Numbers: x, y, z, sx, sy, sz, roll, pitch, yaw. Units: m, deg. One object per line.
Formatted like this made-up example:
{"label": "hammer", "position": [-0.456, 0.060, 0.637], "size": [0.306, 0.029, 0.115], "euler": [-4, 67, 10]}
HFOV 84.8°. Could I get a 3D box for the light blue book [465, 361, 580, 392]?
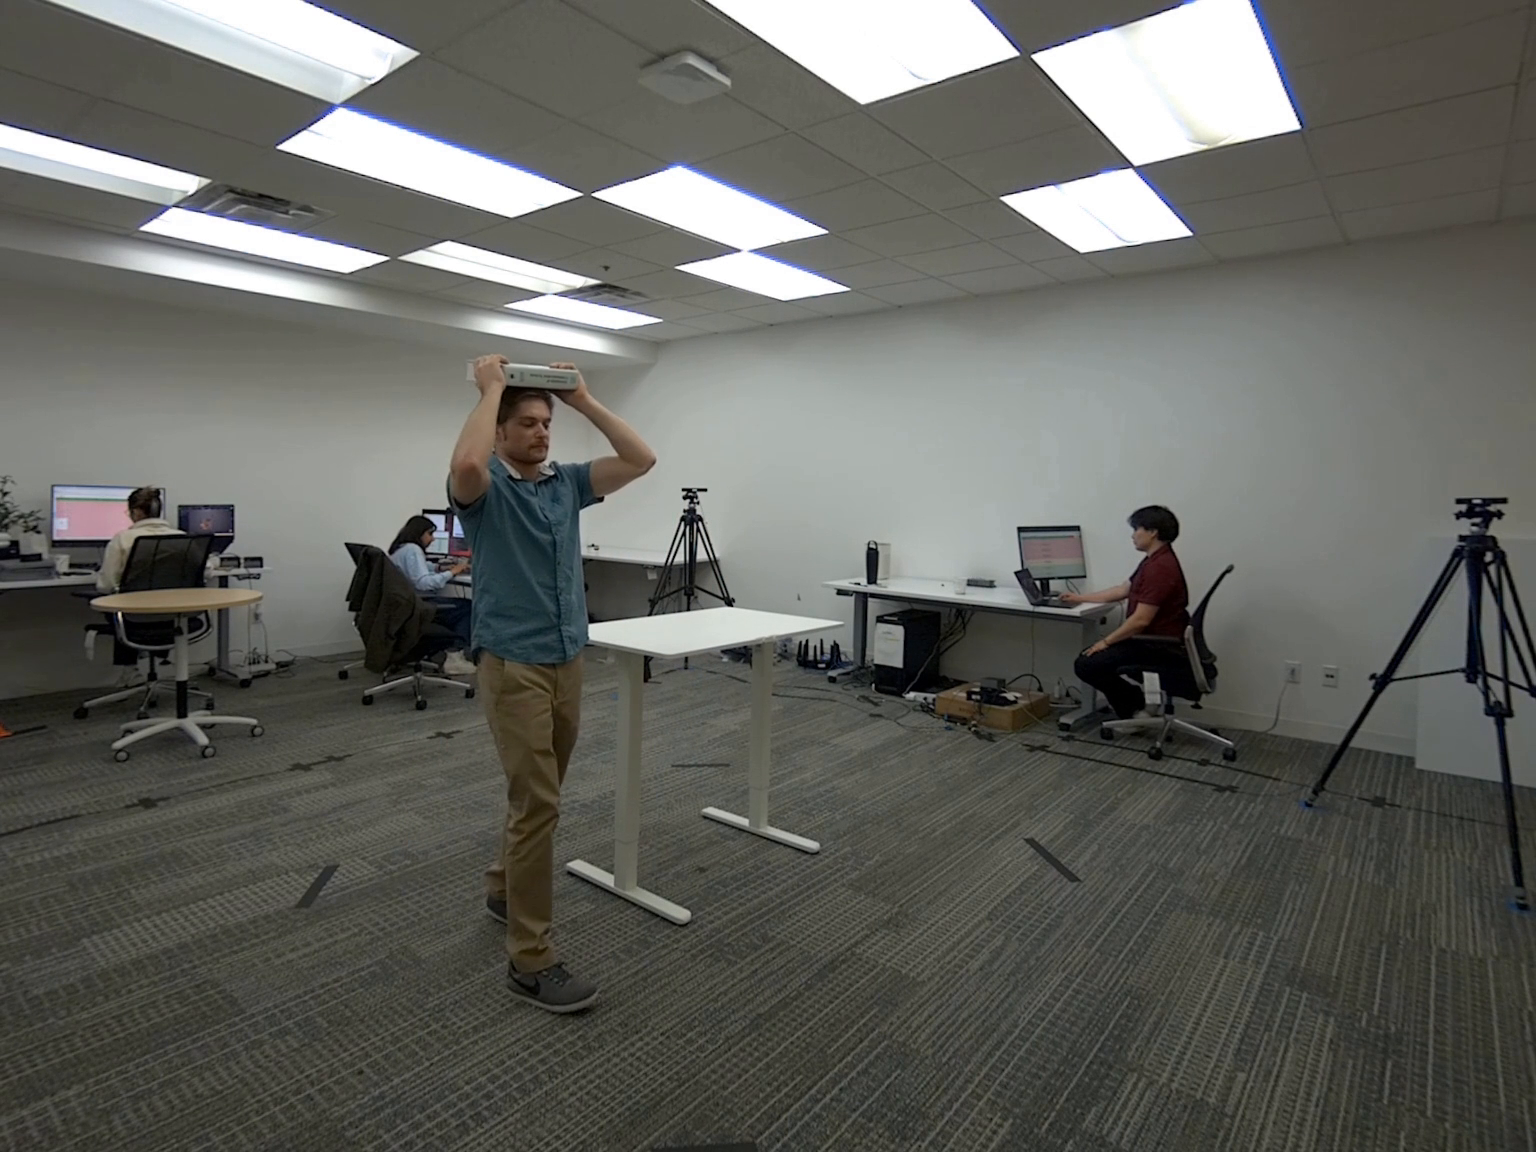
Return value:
{"label": "light blue book", "position": [-0.724, -0.579, 2.450], "size": [0.198, 0.058, 0.255], "euler": [13, 16, 33]}
